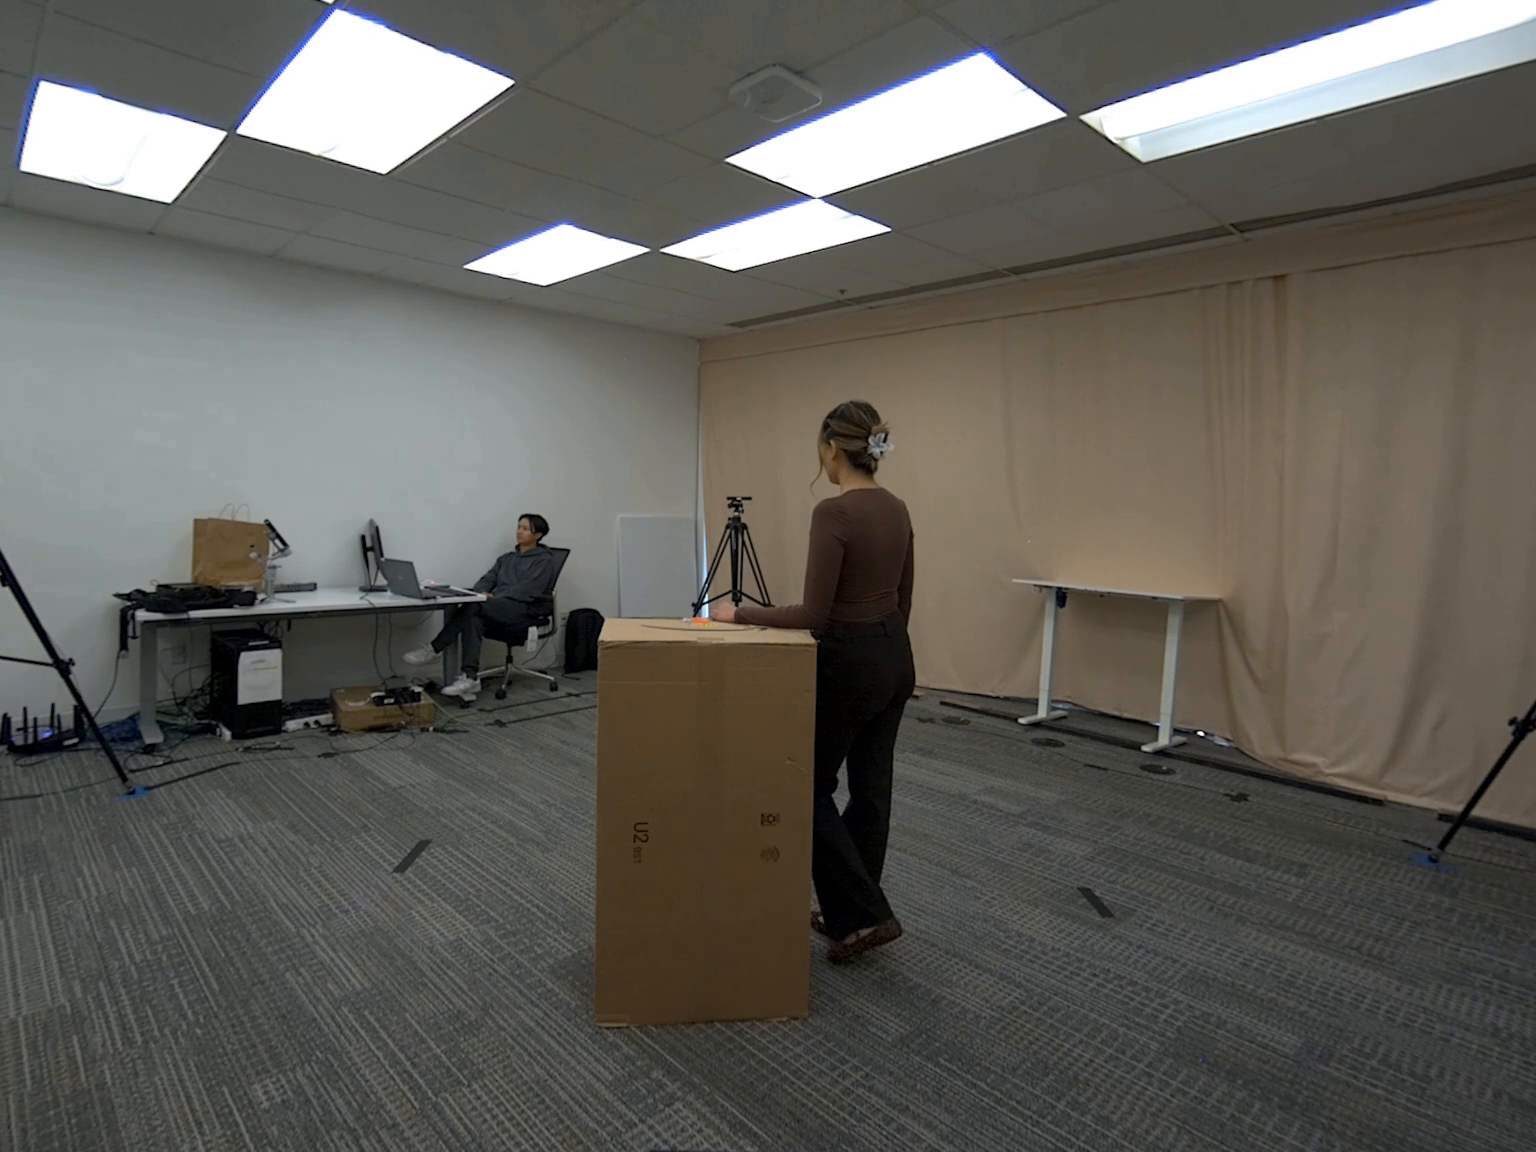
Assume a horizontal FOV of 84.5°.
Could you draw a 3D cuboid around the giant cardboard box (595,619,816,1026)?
[{"bbox_3d":[-0.203,0.661,2.410,0.581,1.024,0.450,1,3,-7],"label":"giant cardboard box"}]
